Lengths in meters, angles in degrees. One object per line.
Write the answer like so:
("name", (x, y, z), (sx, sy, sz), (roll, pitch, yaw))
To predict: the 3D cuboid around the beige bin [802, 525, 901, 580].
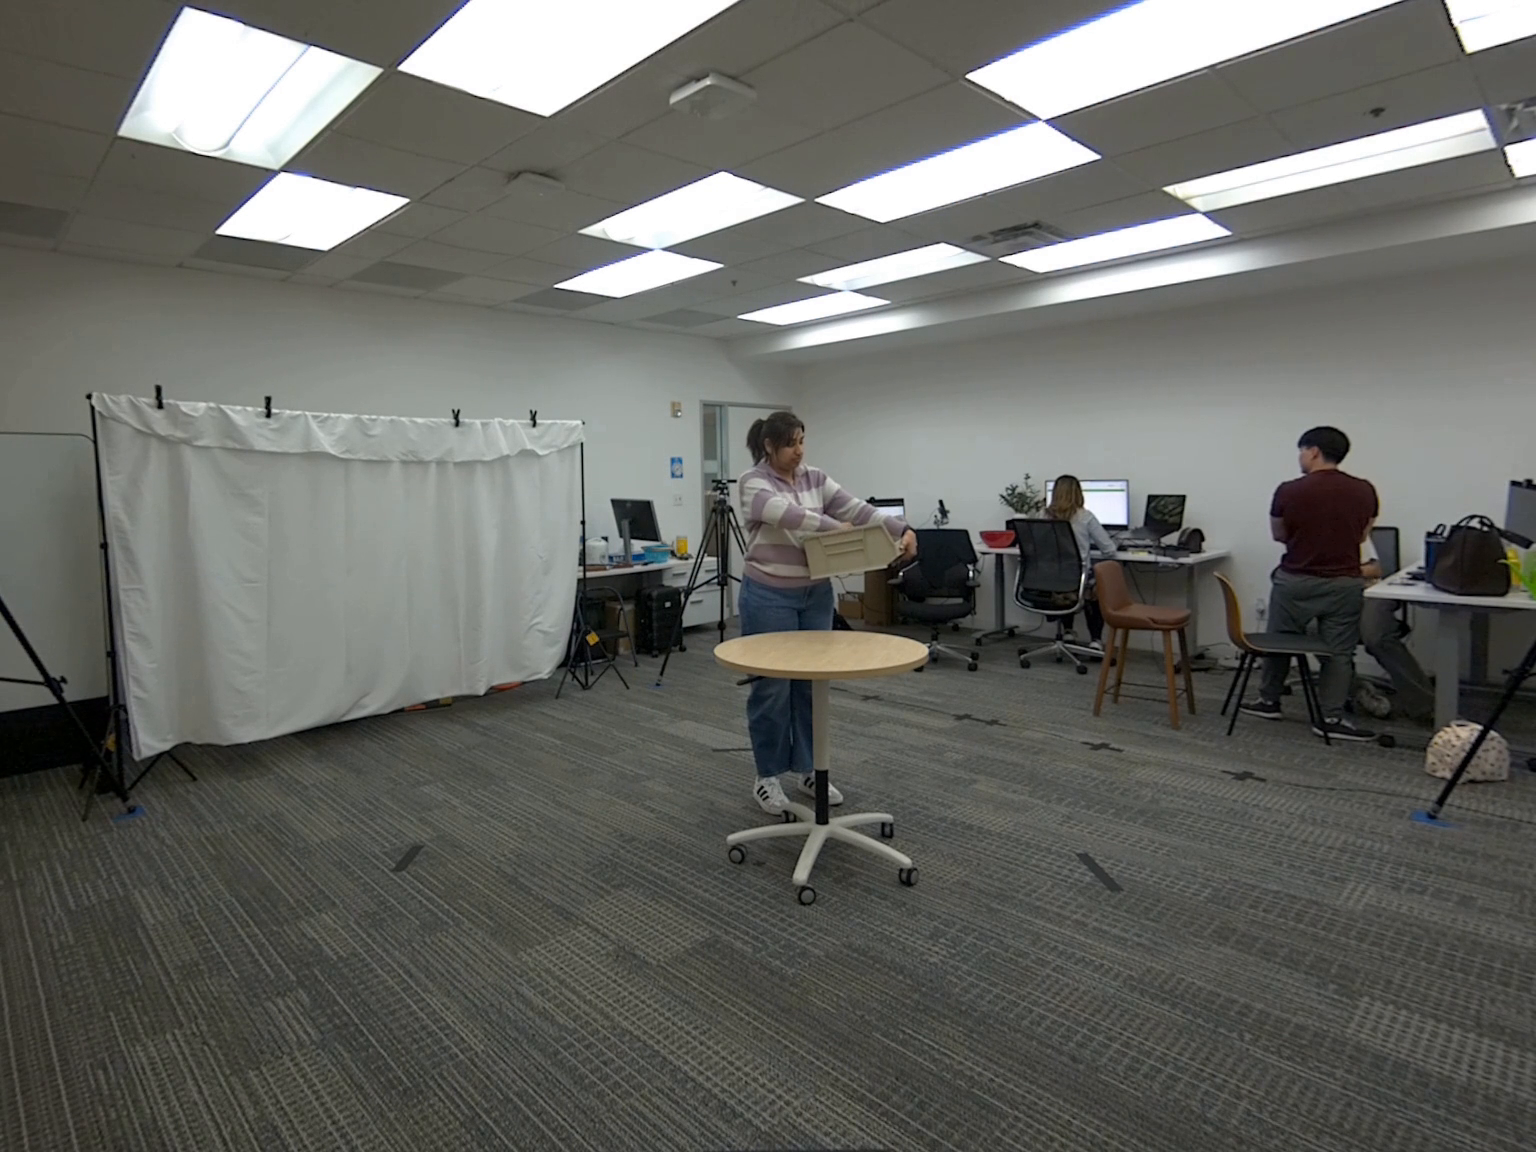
("beige bin", (0.391, -0.121, 3.554), (0.384, 0.189, 0.416), (-10, 3, 22))
